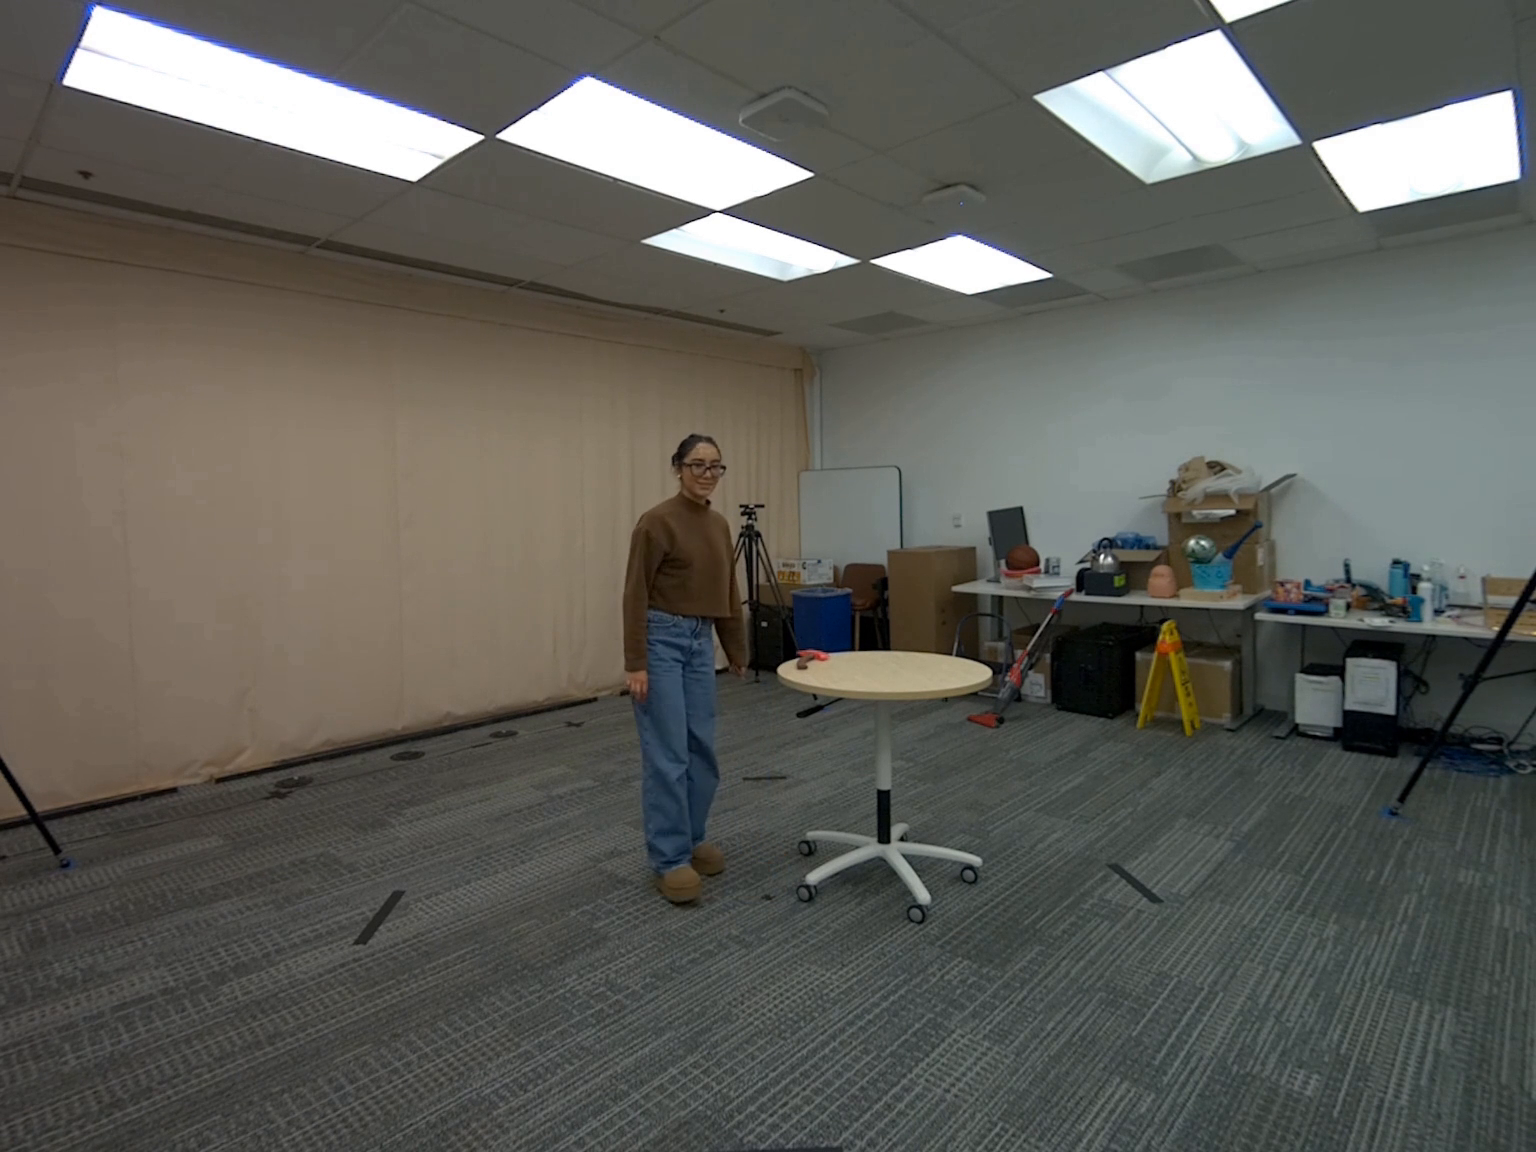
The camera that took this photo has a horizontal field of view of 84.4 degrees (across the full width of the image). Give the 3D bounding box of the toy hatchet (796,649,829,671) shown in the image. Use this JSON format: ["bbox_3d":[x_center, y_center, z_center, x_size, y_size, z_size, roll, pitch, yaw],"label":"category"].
[{"bbox_3d":[0.124,0.322,3.228,0.135,0.029,0.262,8,11,38],"label":"toy hatchet"}]
